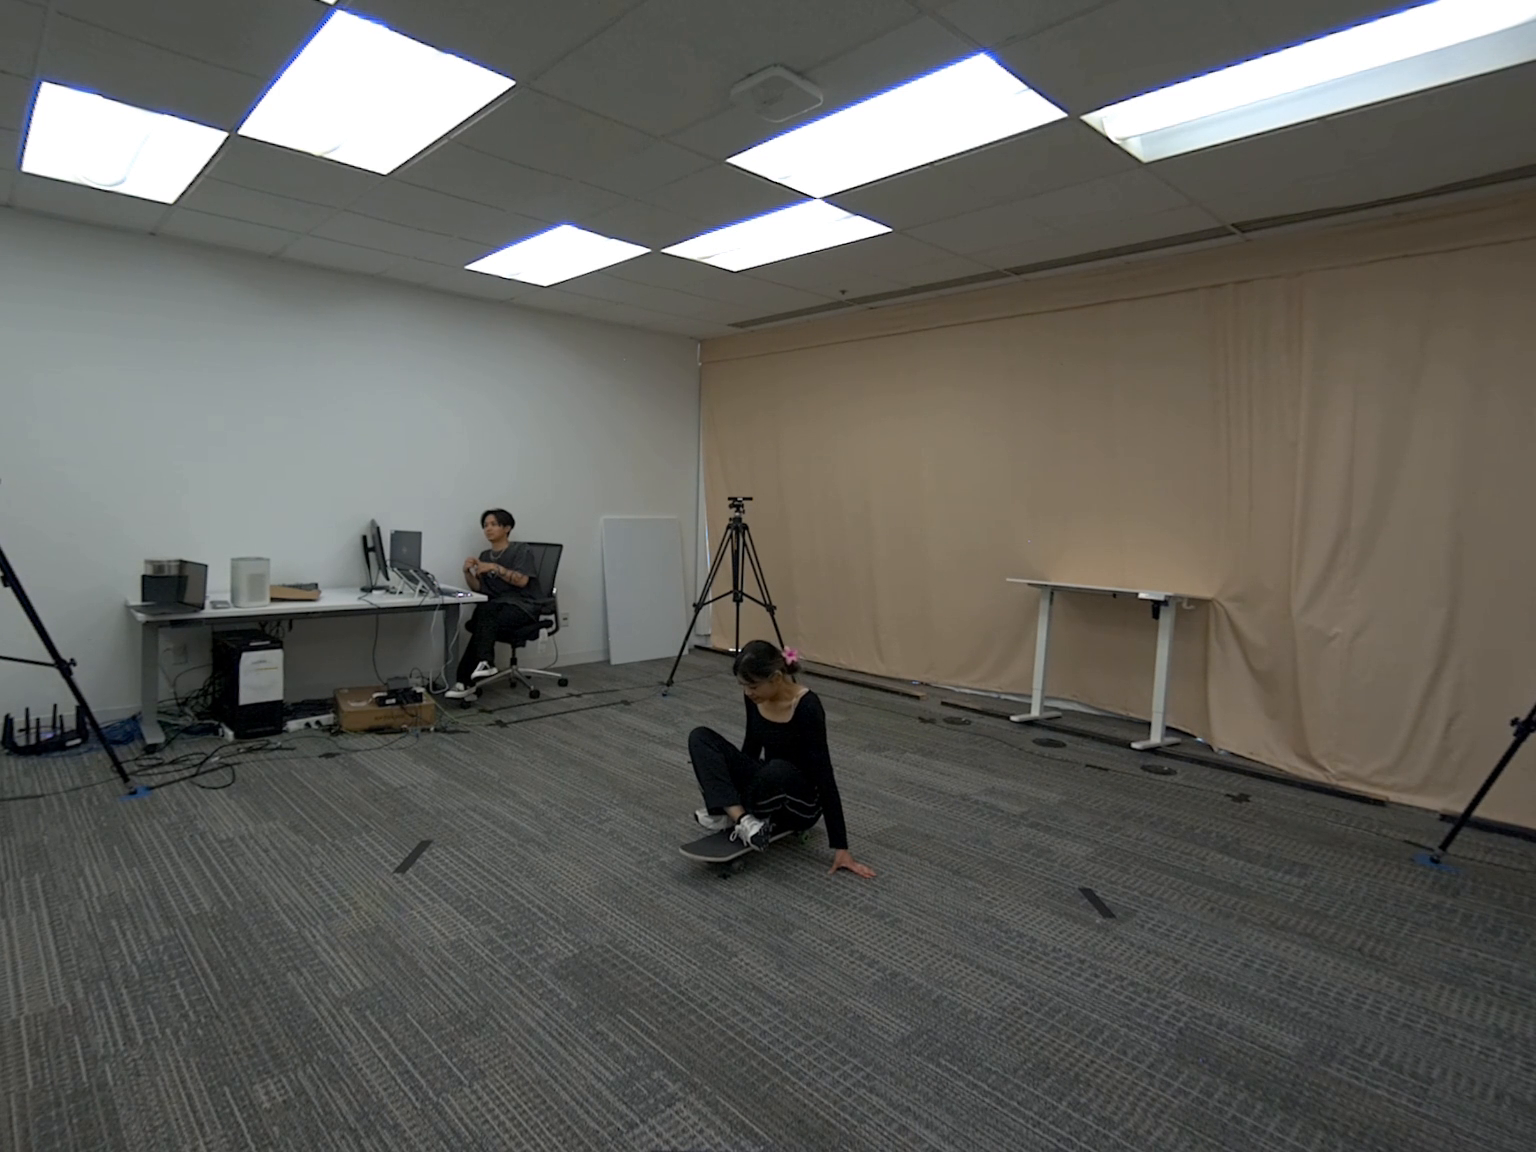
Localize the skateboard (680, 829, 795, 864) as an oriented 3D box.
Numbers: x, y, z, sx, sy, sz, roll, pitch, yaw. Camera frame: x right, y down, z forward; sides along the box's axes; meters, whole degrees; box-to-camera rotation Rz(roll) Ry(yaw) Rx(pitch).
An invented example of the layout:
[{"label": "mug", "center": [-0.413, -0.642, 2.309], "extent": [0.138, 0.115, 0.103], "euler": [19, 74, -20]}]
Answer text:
[{"label": "skateboard", "center": [-0.041, 1.032, 3.315], "extent": [0.198, 0.110, 0.767], "euler": [4, 4, 39]}]
